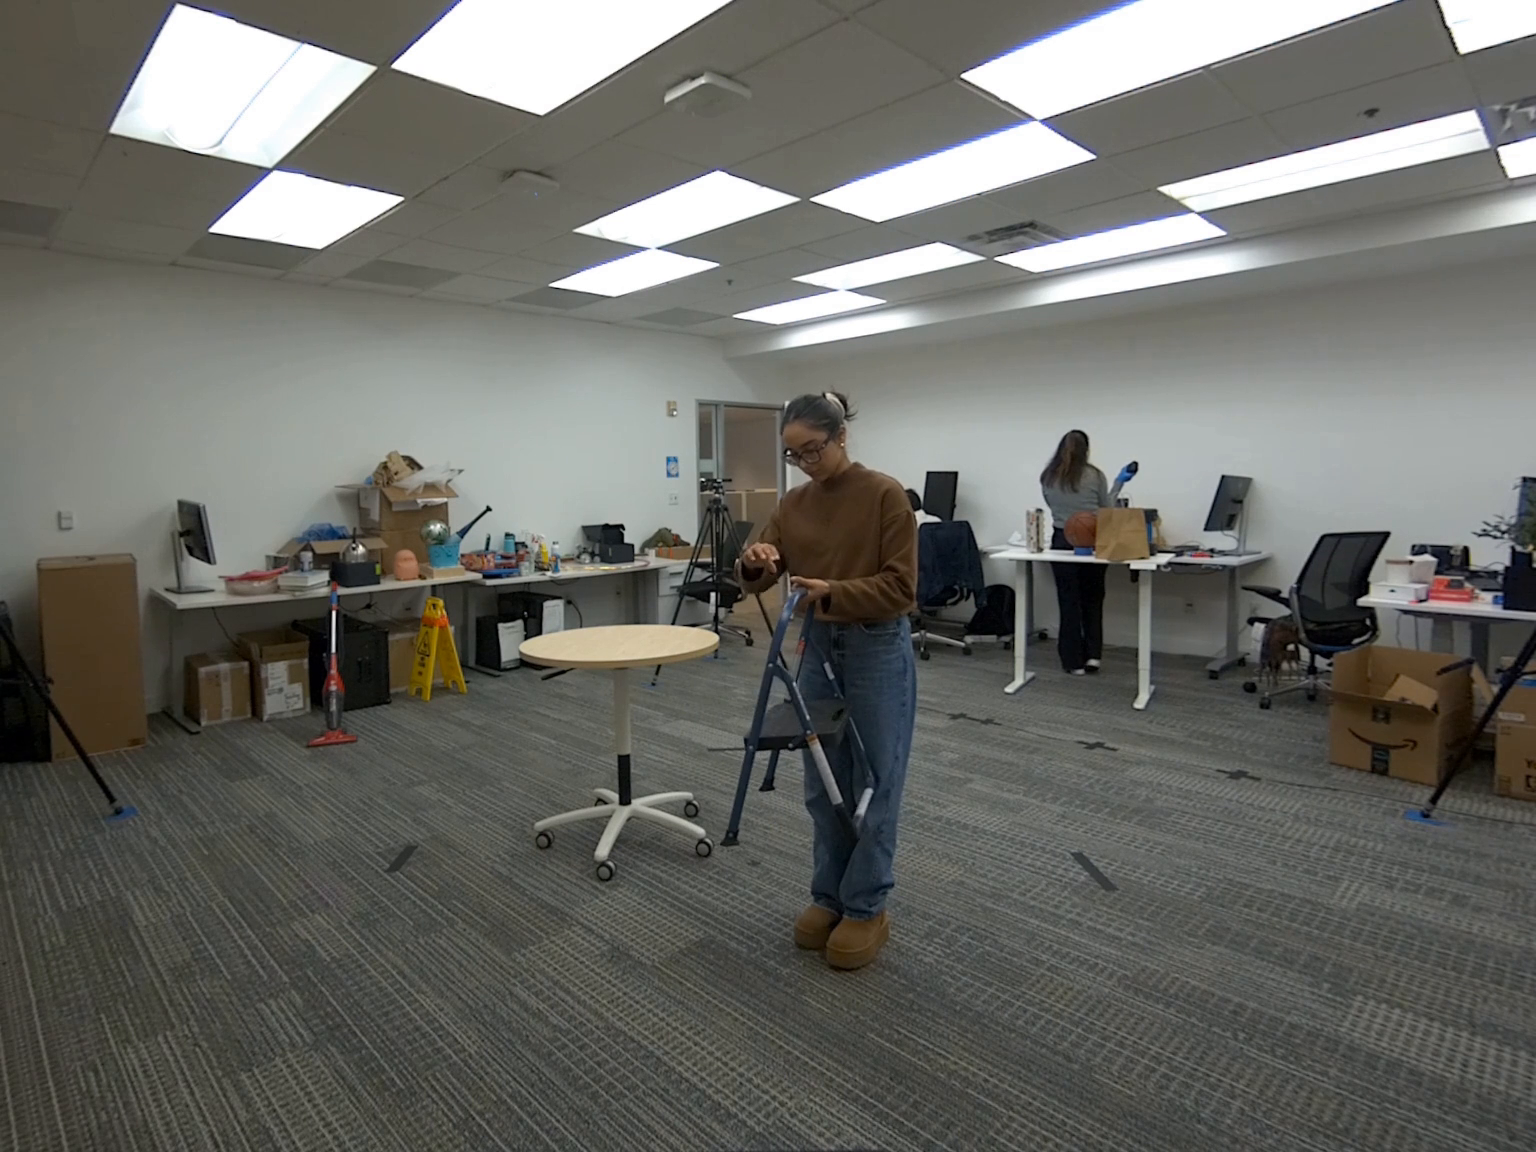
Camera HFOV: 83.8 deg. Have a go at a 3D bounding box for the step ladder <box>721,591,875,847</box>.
[{"bbox_3d":[0.056,0.350,2.274,0.354,0.605,0.426,-8,2,14],"label":"step ladder"}]
